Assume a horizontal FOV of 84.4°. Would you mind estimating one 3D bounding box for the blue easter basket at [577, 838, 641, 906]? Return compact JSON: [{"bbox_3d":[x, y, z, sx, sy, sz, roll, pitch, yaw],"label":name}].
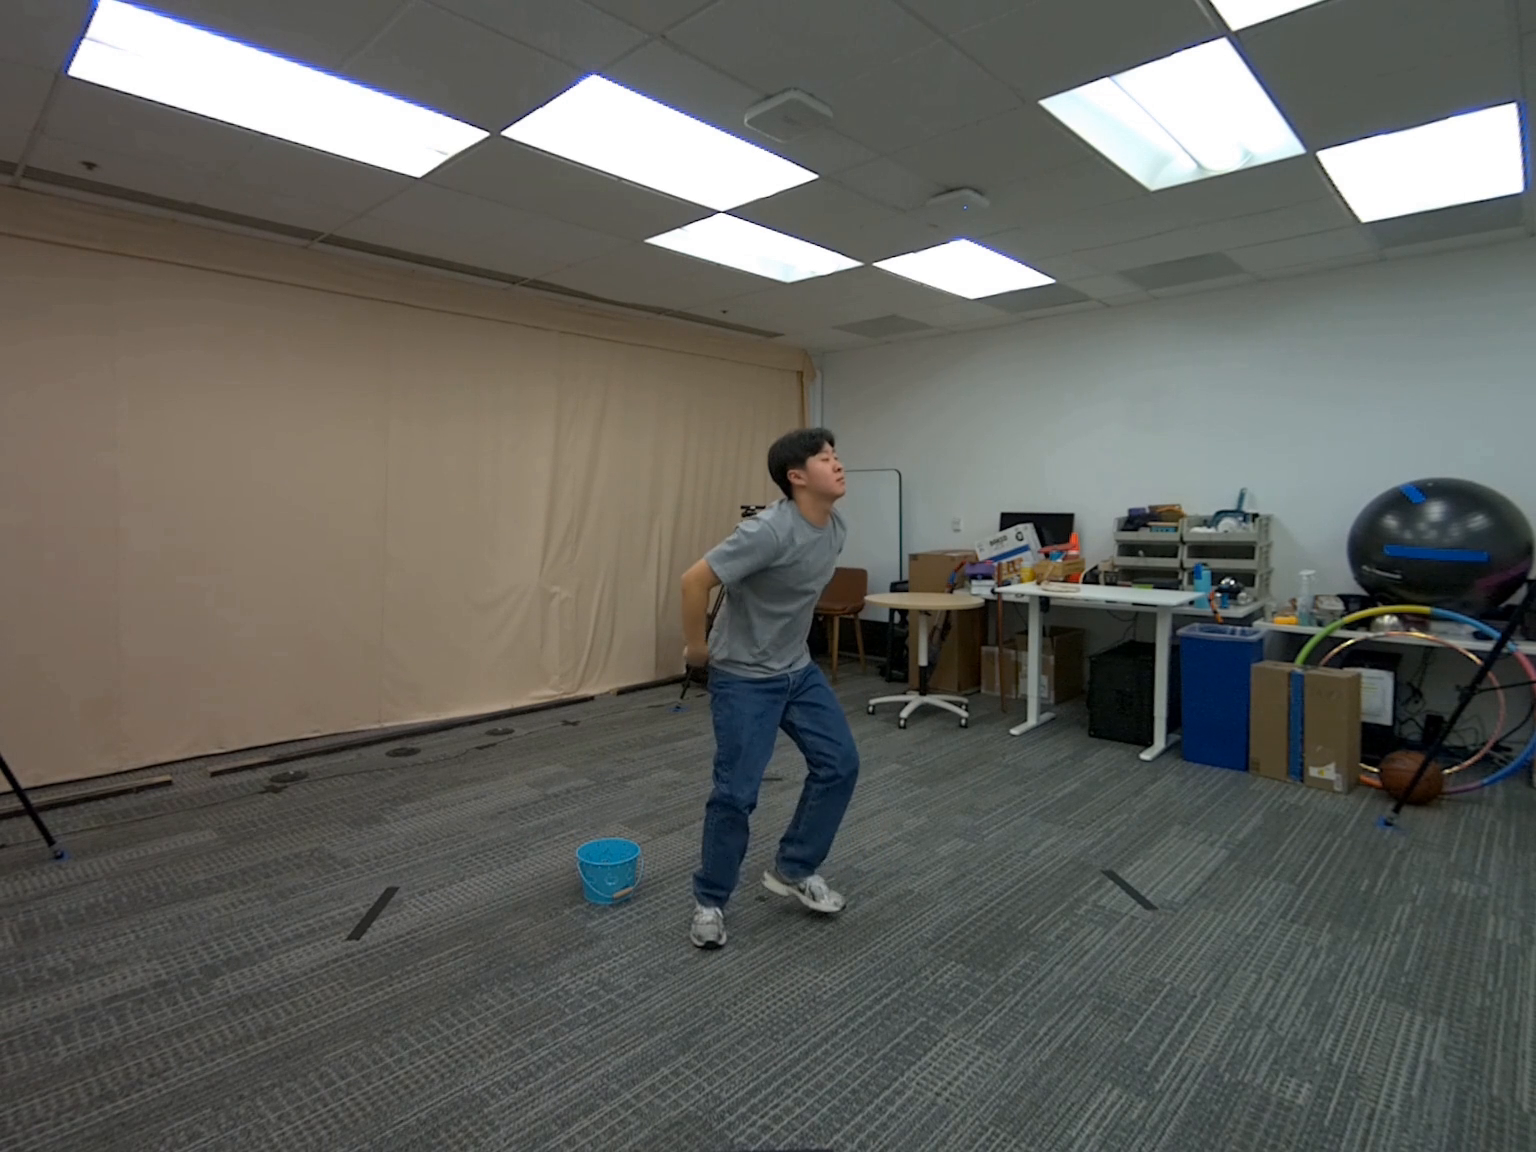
[{"bbox_3d":[-0.573,1.068,3.033,0.243,0.155,0.244,0,4,-2],"label":"blue easter basket"}]
